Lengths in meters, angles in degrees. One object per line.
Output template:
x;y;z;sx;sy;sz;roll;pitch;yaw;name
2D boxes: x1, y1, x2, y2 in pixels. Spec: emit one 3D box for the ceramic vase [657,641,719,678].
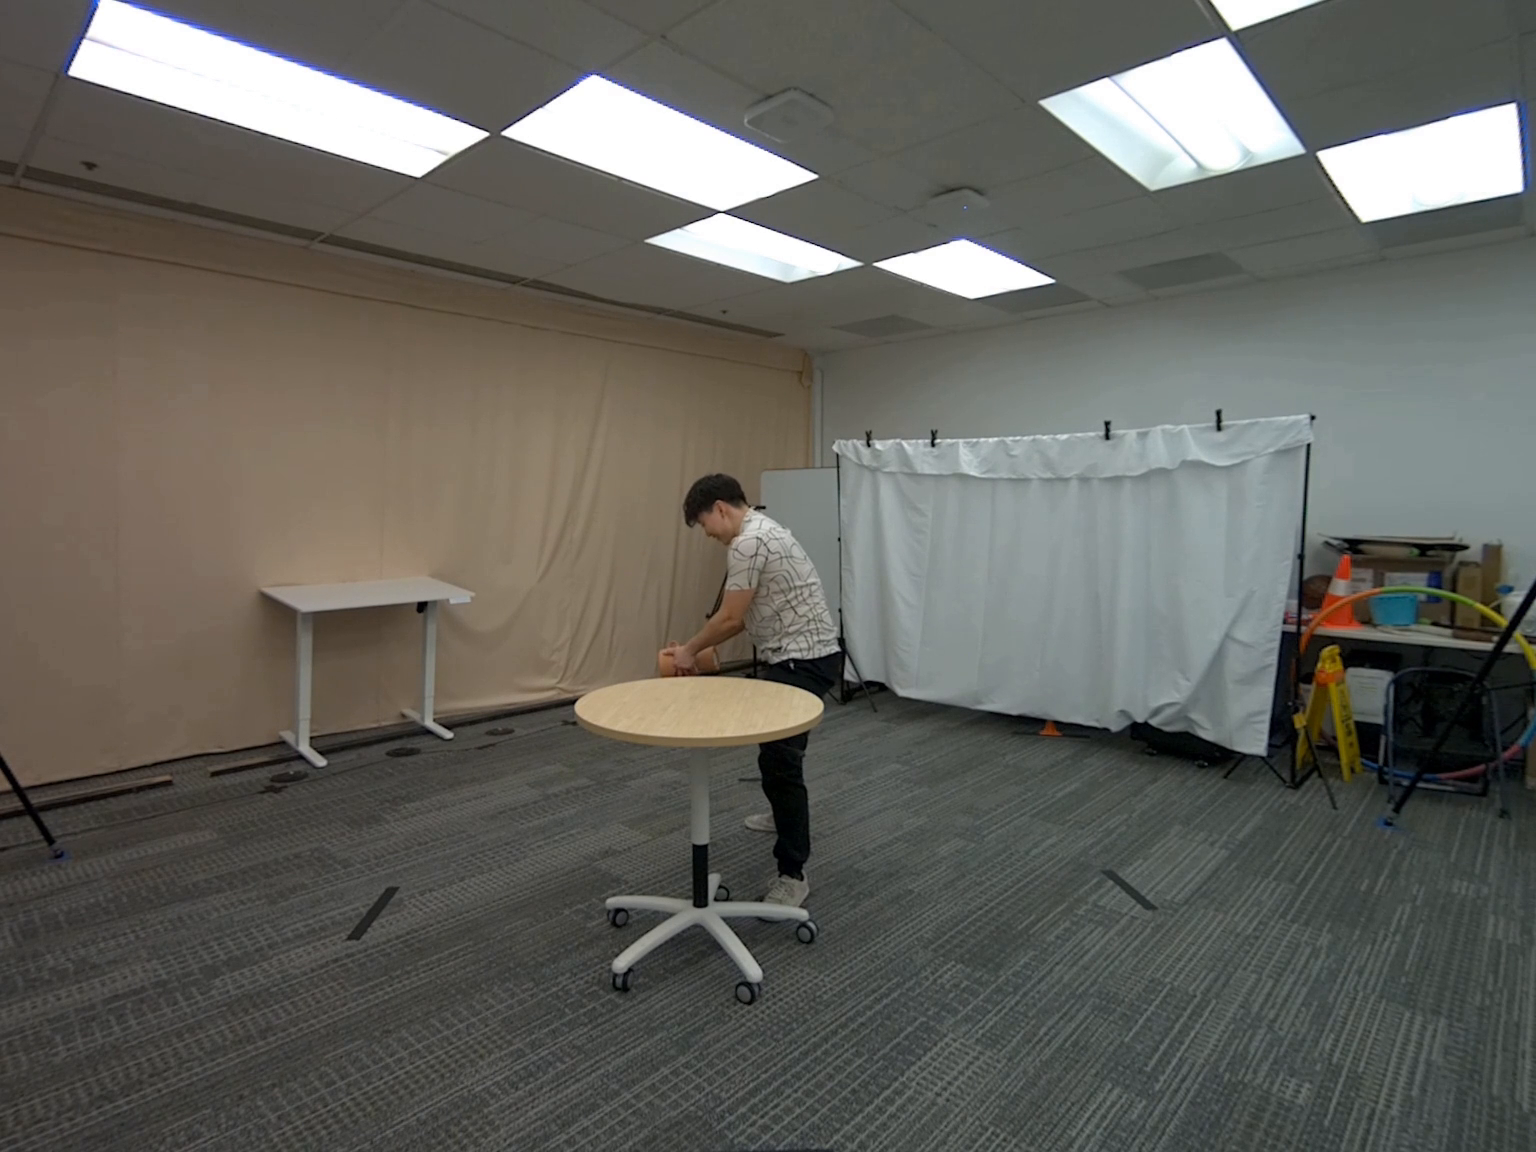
-0.317;0.344;3.359;0.221;0.156;0.136;-8;22;6;ceramic vase
